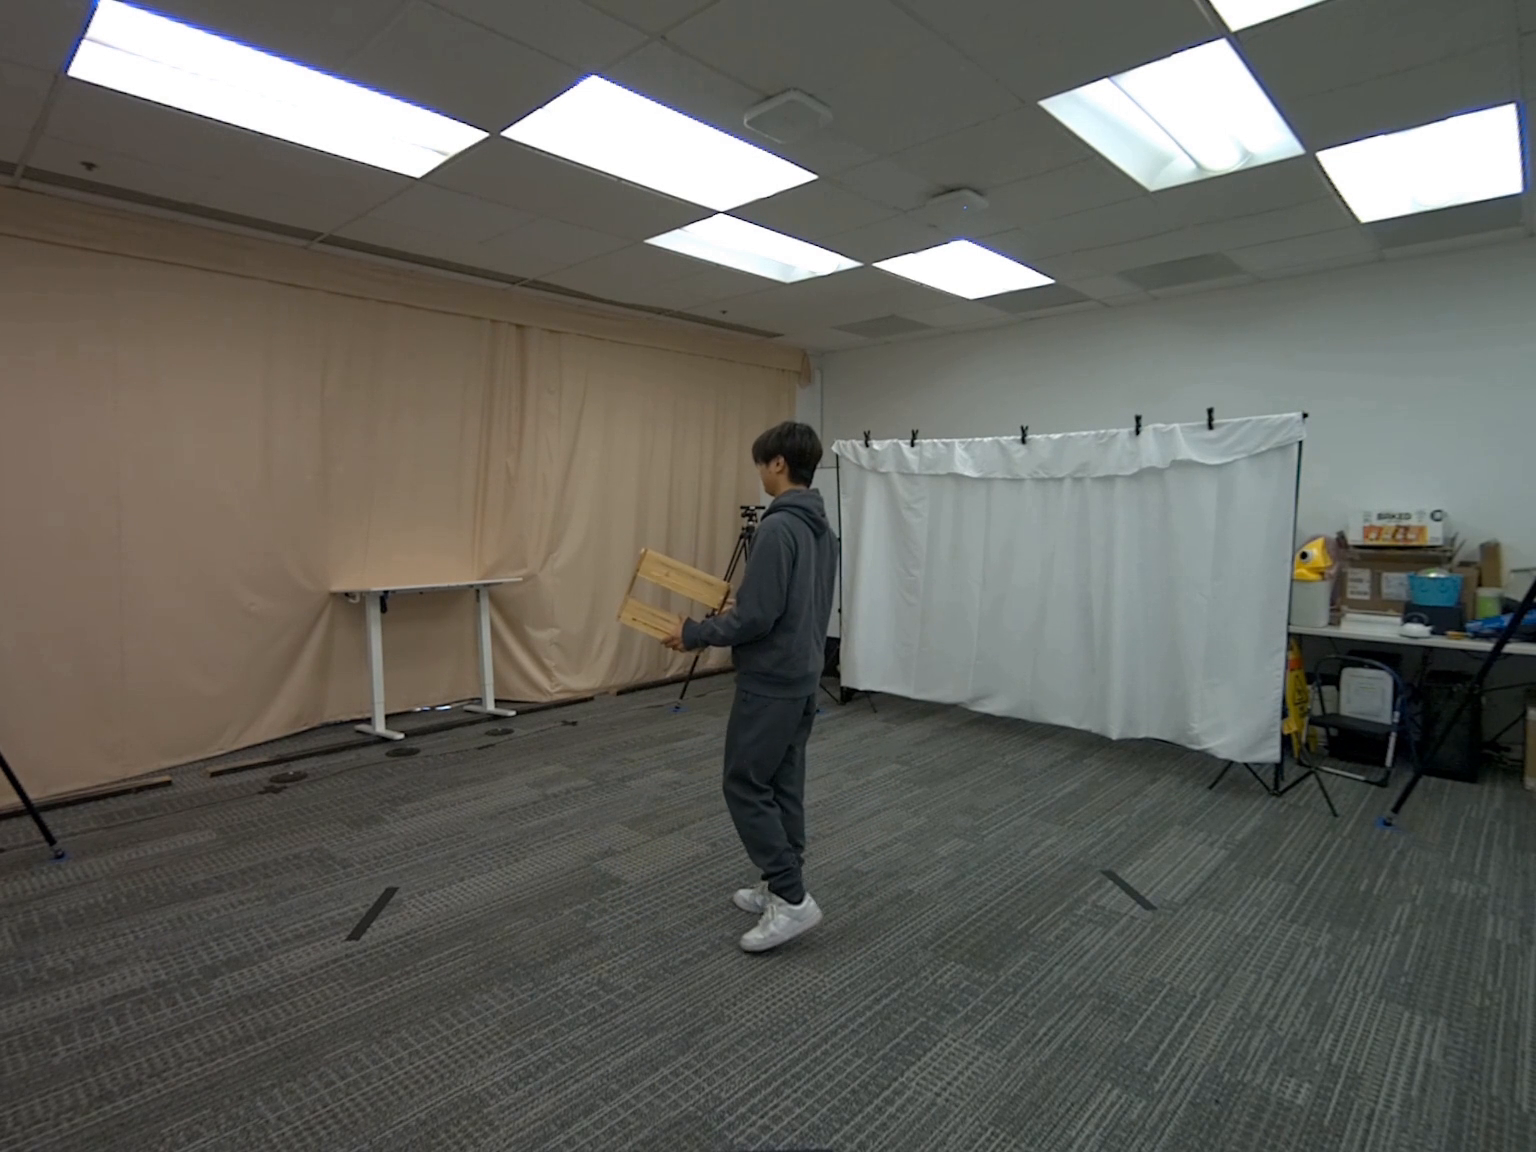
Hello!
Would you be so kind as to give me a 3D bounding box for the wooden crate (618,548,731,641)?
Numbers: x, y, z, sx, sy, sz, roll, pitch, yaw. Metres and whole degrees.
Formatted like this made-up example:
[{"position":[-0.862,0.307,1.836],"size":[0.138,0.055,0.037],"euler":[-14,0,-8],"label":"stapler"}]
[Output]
[{"position":[-0.316,0.083,2.894],"size":[0.324,0.273,0.302],"euler":[23,-3,-1],"label":"wooden crate"}]
